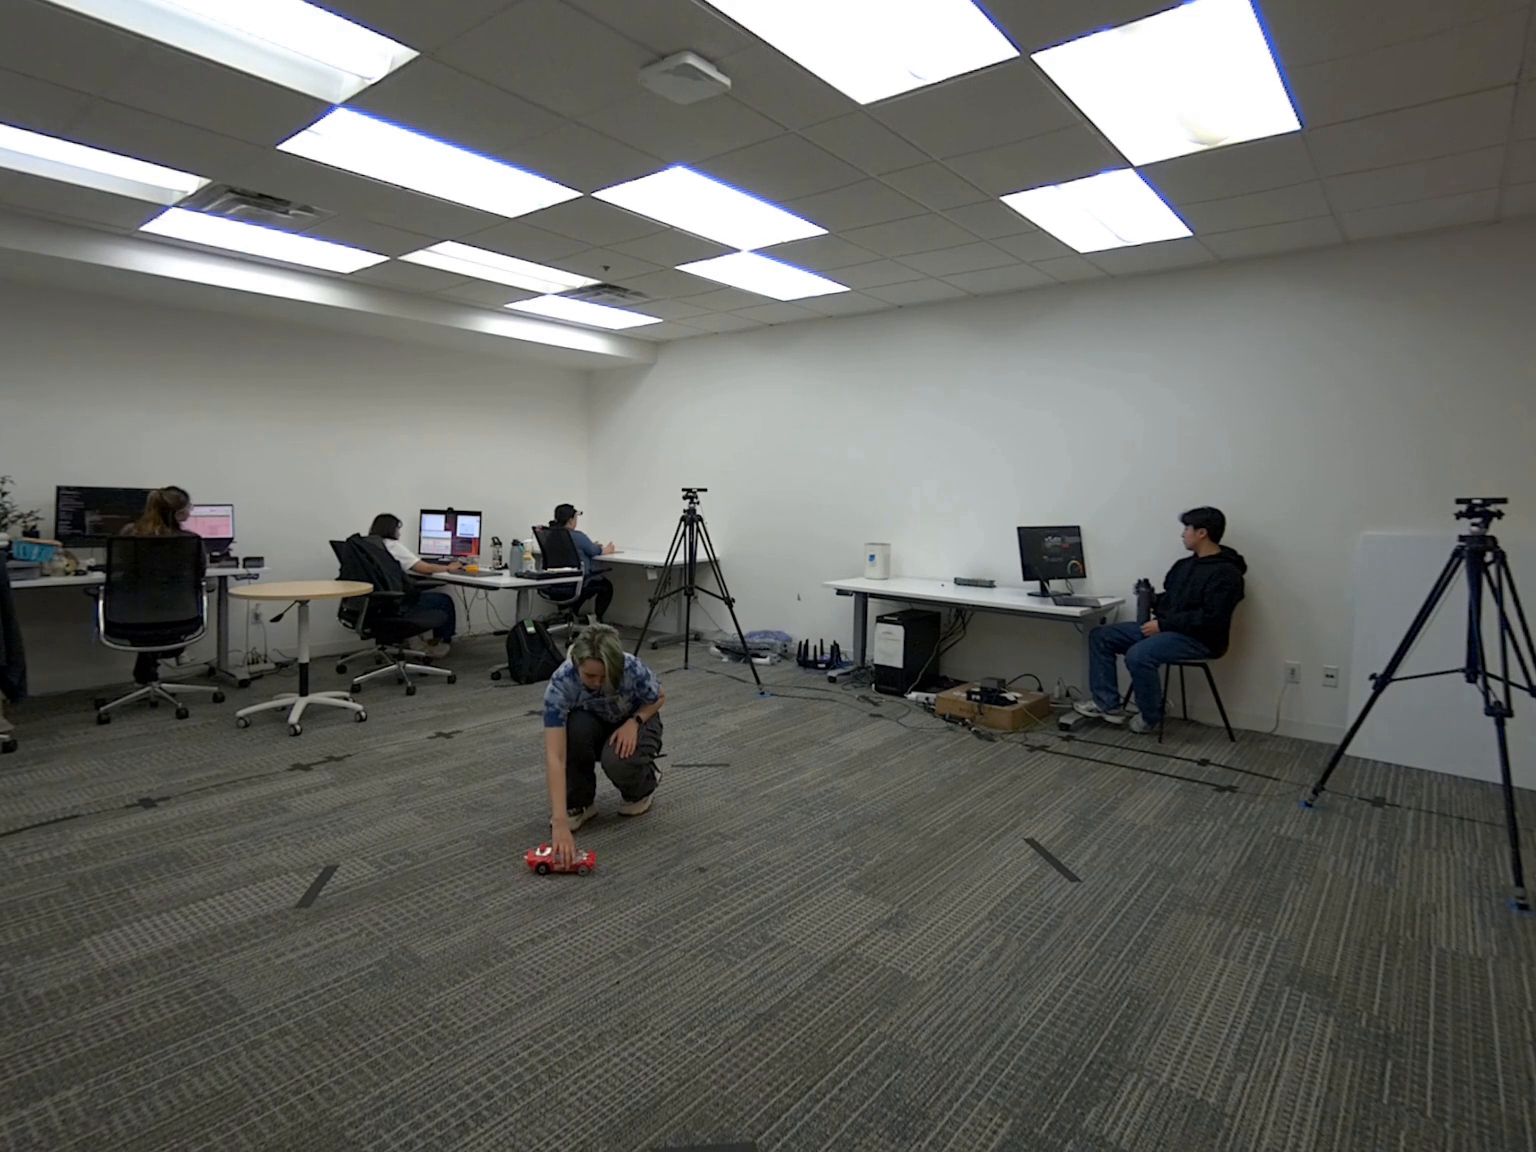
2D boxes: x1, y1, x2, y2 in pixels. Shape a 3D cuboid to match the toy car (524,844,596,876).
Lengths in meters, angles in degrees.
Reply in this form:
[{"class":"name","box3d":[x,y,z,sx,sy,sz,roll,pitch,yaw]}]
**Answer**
[{"class":"toy car","box3d":[-0.782,1.033,3.091,0.253,0.083,0.131,12,4,-5]}]
